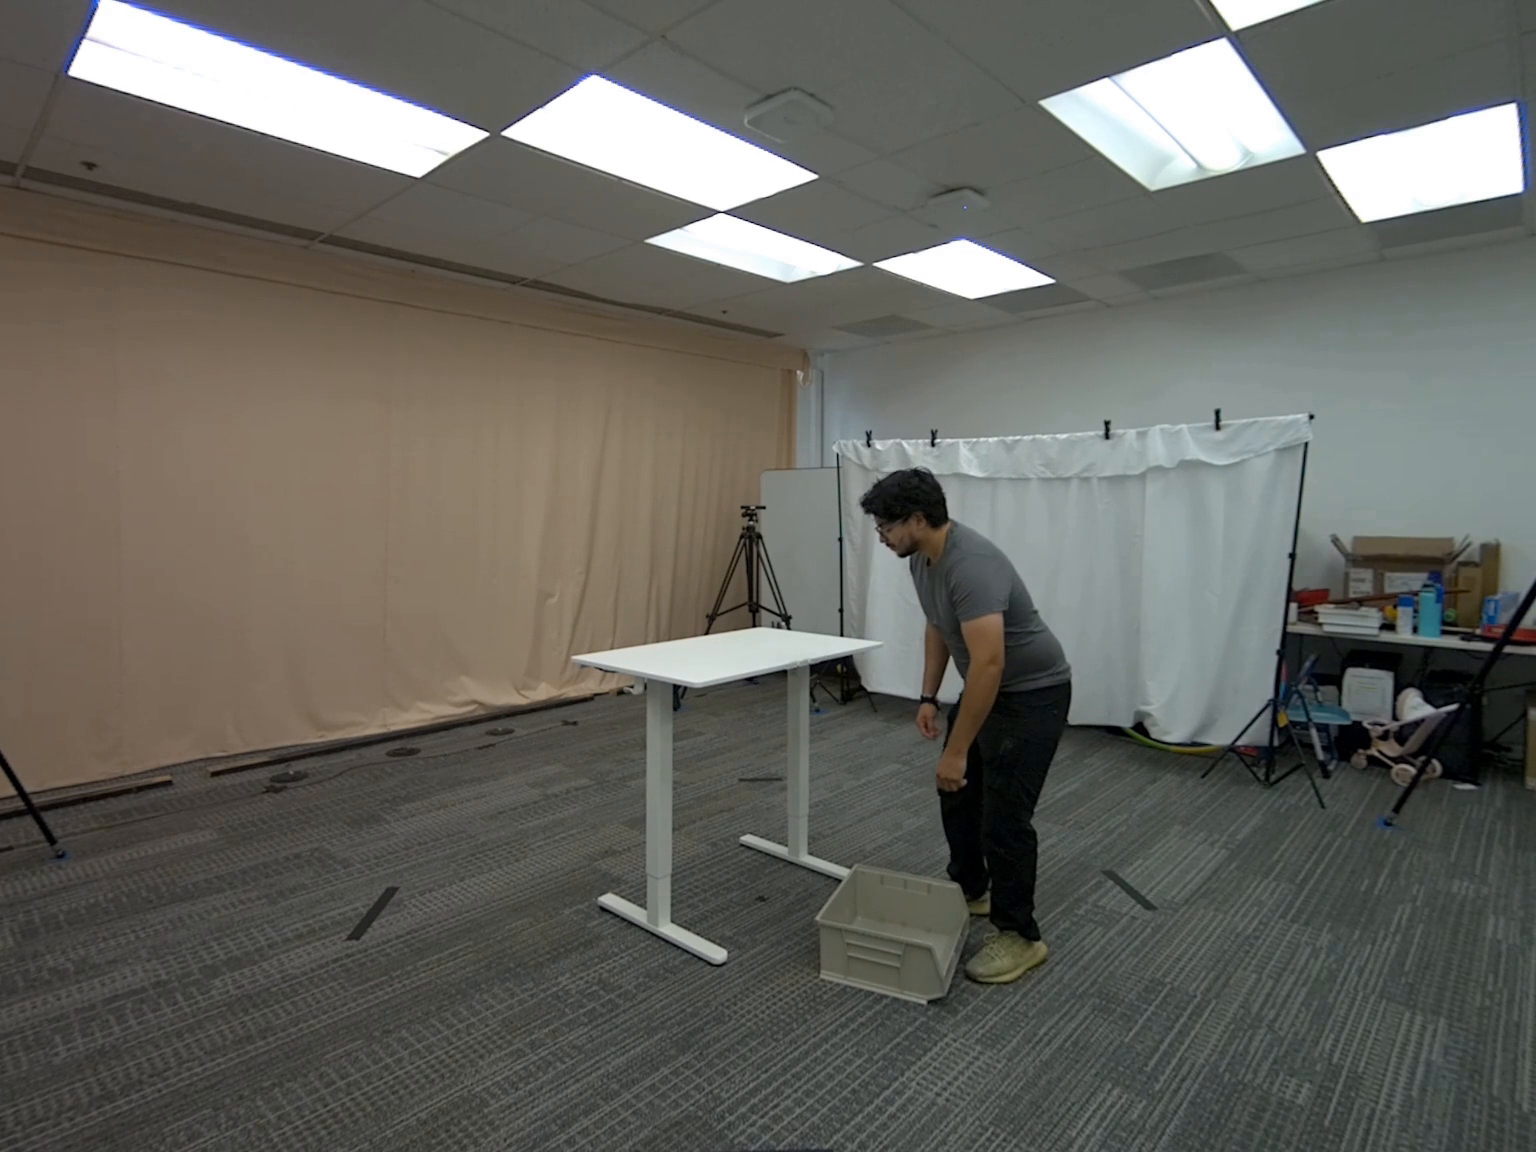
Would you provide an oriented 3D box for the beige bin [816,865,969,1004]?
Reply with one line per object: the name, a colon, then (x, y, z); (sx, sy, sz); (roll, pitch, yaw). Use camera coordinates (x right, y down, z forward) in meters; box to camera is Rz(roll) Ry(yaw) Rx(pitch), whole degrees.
beige bin: (0.398, 1.089, 2.586); (0.386, 0.188, 0.413); (1, 5, 23)
